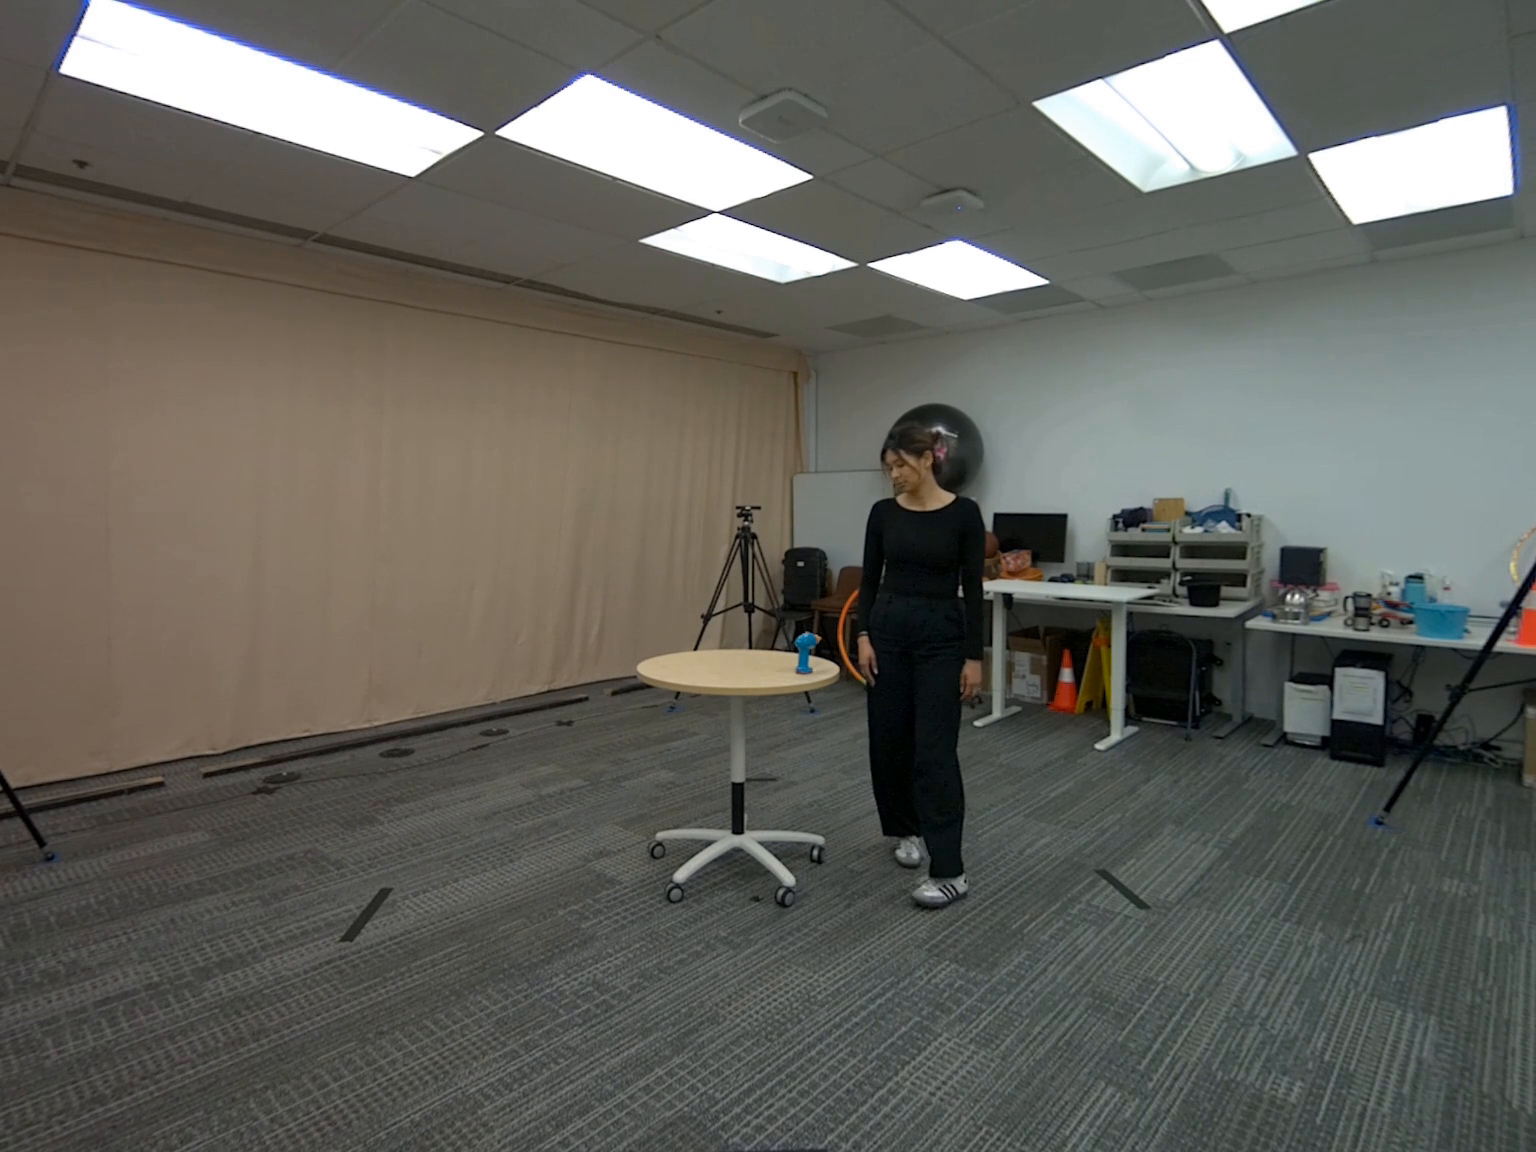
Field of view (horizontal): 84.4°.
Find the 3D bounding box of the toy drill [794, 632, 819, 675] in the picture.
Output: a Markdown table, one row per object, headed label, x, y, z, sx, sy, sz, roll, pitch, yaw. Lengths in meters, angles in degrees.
| label | x | y | z | sx | sy | sz | roll | pitch | yaw |
| --- | --- | --- | --- | --- | --- | --- | --- | --- | --- |
| toy drill | 0.153 | 0.280 | 3.103 | 0.063 | 0.146 | 0.165 | 1 | 3 | 30 |
